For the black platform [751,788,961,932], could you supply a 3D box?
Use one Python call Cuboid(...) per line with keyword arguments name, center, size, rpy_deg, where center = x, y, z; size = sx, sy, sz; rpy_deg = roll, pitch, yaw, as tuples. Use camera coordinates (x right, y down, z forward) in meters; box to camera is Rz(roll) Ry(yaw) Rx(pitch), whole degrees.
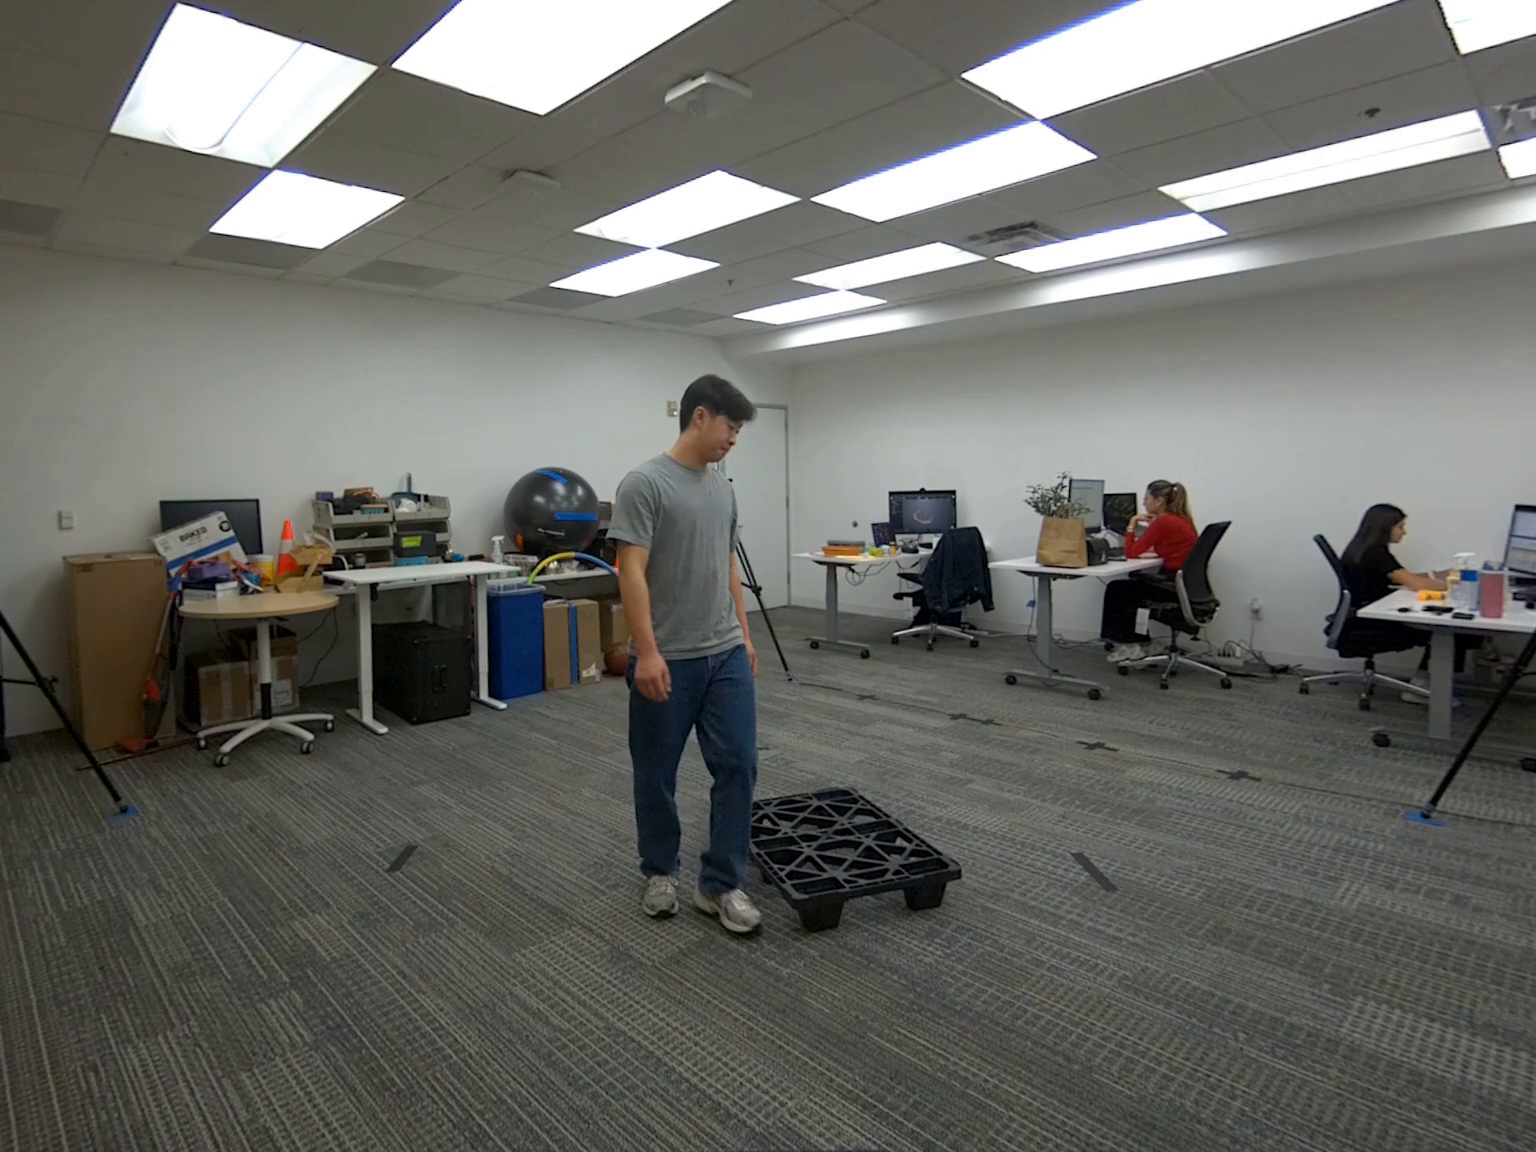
Cuboid(name="black platform", center=(0.209, 0.981, 3.033), size=(0.595, 0.142, 0.823), rpy_deg=(-4, 7, -21))
